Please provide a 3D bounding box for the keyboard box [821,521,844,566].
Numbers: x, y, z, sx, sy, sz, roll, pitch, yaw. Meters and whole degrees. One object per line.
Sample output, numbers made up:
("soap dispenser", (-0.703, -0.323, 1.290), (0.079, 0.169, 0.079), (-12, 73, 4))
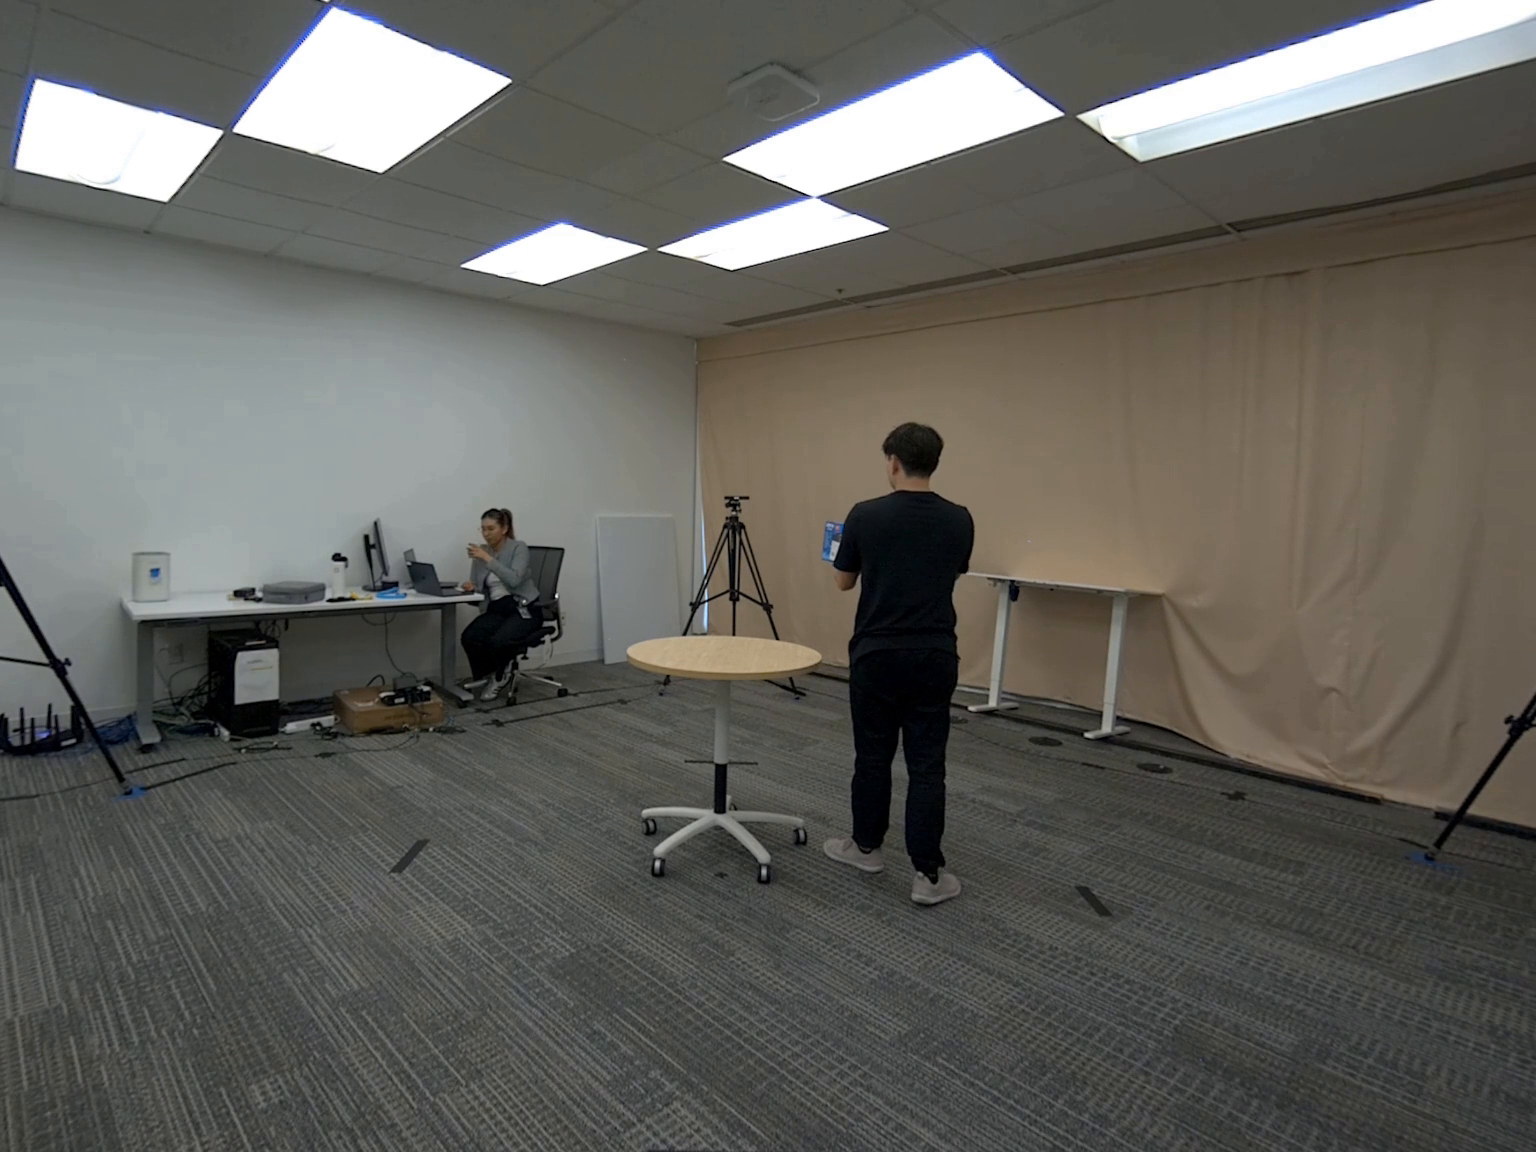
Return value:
("keyboard box", (0.331, -0.123, 3.529), (0.058, 0.175, 0.444), (6, 5, -17))
